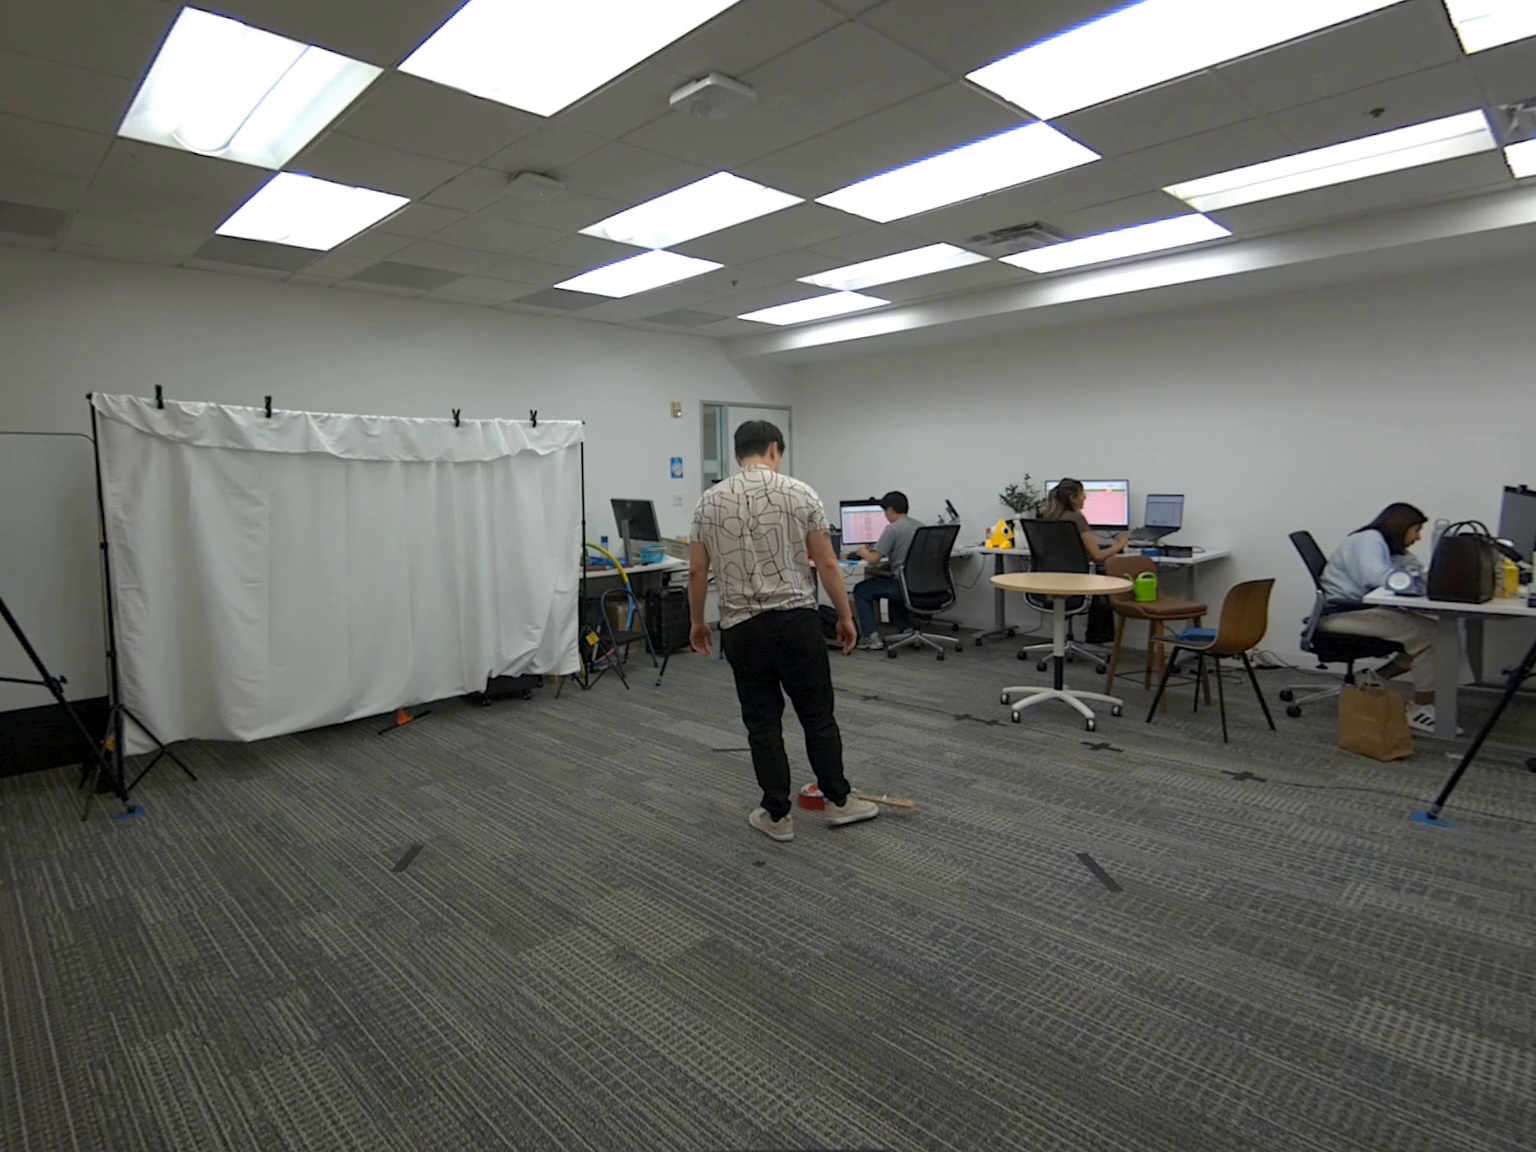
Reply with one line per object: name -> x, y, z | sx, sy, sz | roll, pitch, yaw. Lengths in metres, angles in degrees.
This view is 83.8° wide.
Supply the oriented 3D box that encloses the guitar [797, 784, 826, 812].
guitar -> 0.362, 0.952, 3.588 | 0.512, 0.070, 0.188 | 3, 6, 36
